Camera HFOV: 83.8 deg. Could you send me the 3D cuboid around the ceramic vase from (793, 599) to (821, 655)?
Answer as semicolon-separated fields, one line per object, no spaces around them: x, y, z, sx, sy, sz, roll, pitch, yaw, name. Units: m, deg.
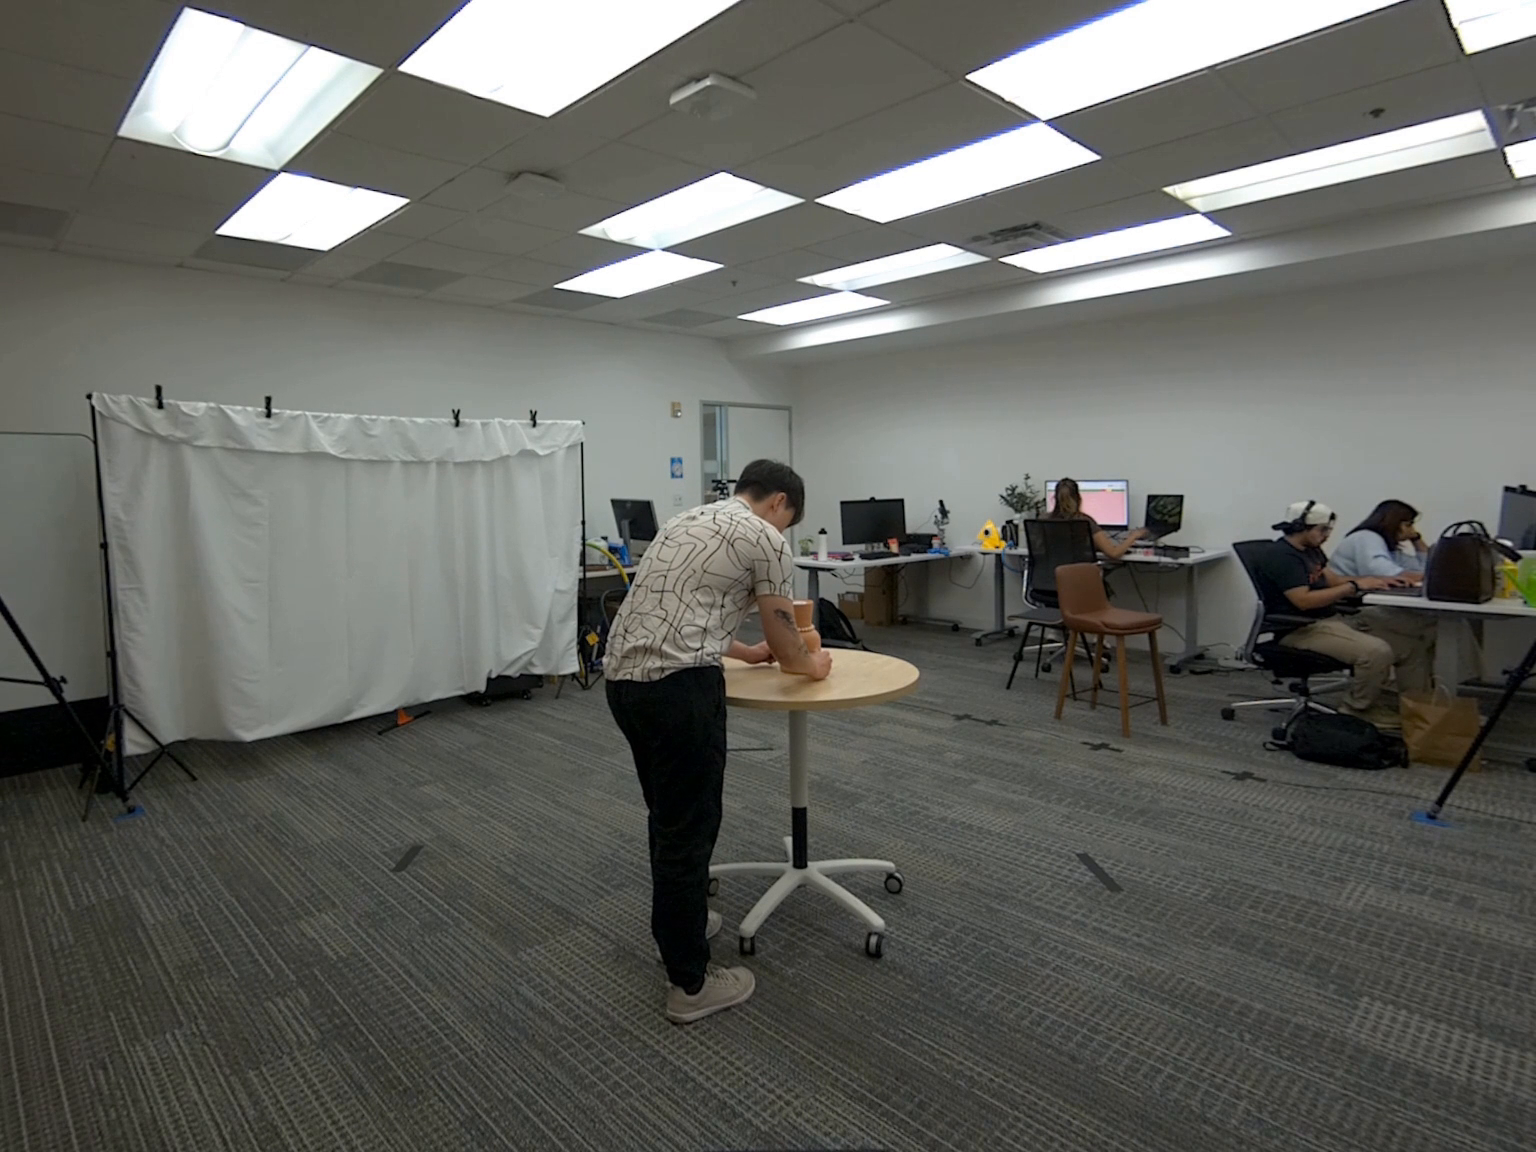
0.102;0.194;2.729;0.160;0.218;0.134;-2;8;10;ceramic vase
